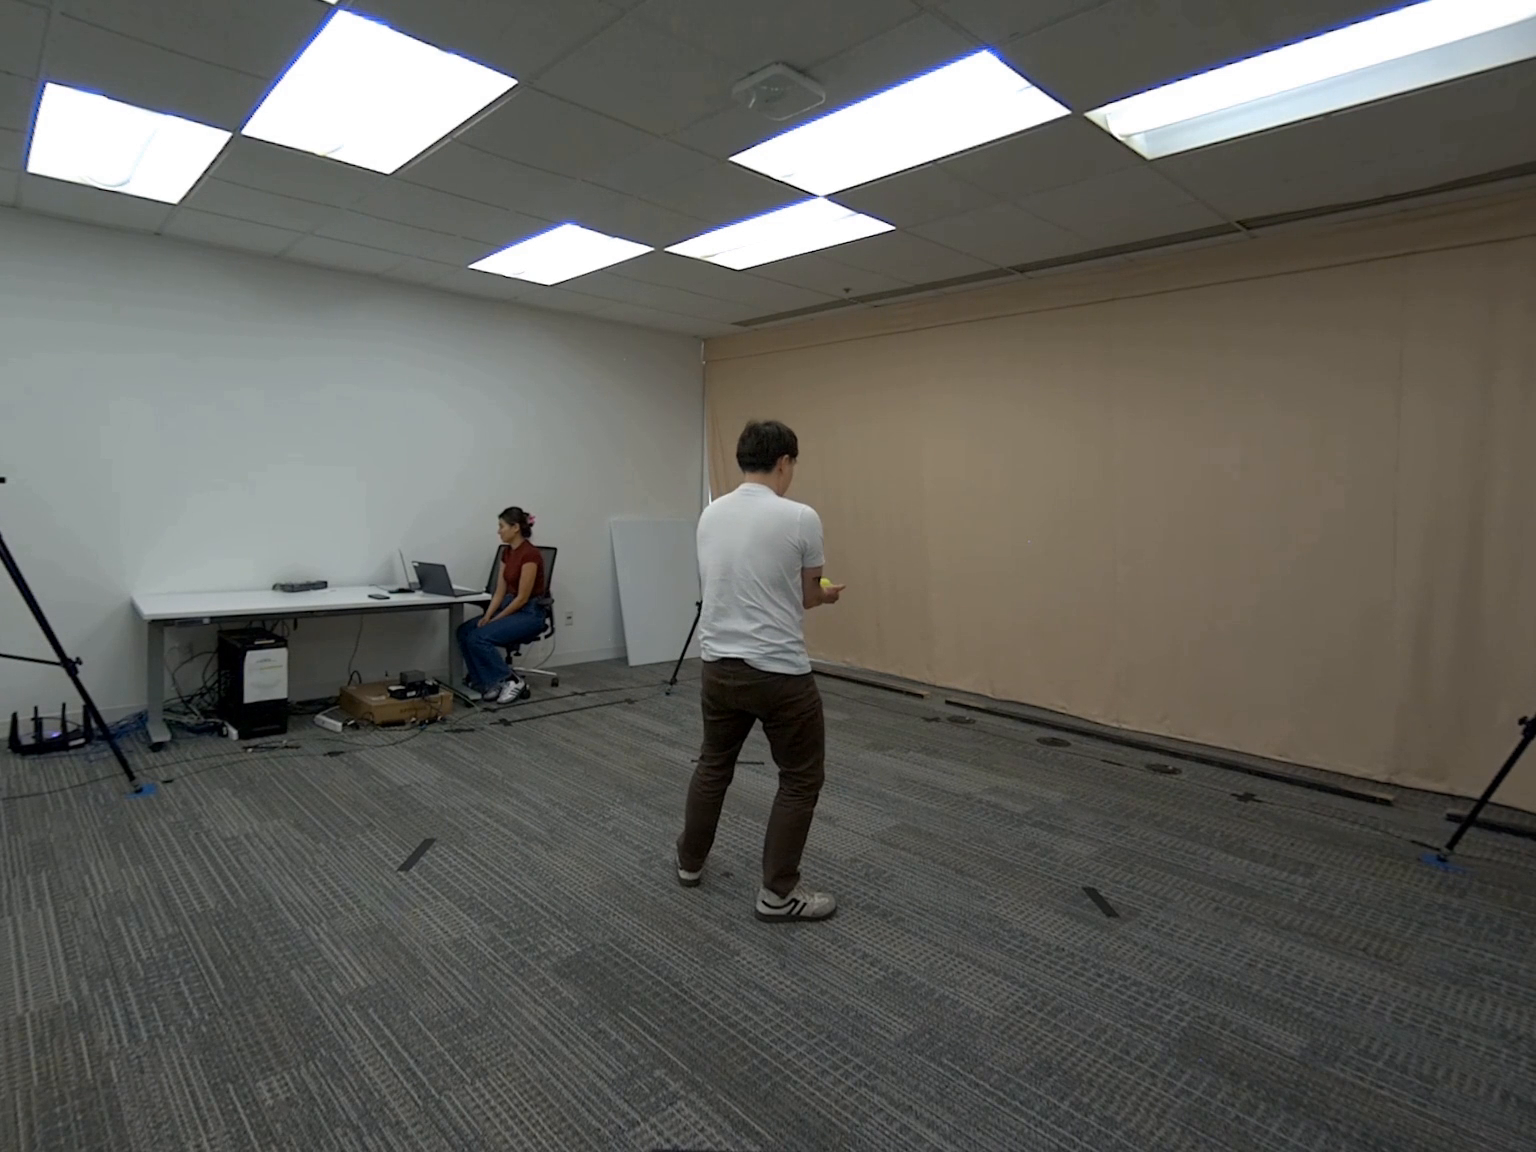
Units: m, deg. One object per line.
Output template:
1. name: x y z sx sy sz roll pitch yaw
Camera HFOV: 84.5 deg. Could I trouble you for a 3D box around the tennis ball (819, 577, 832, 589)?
1. tennis ball: 0.190 0.033 3.127 0.066 0.066 0.067 1 4 -1
